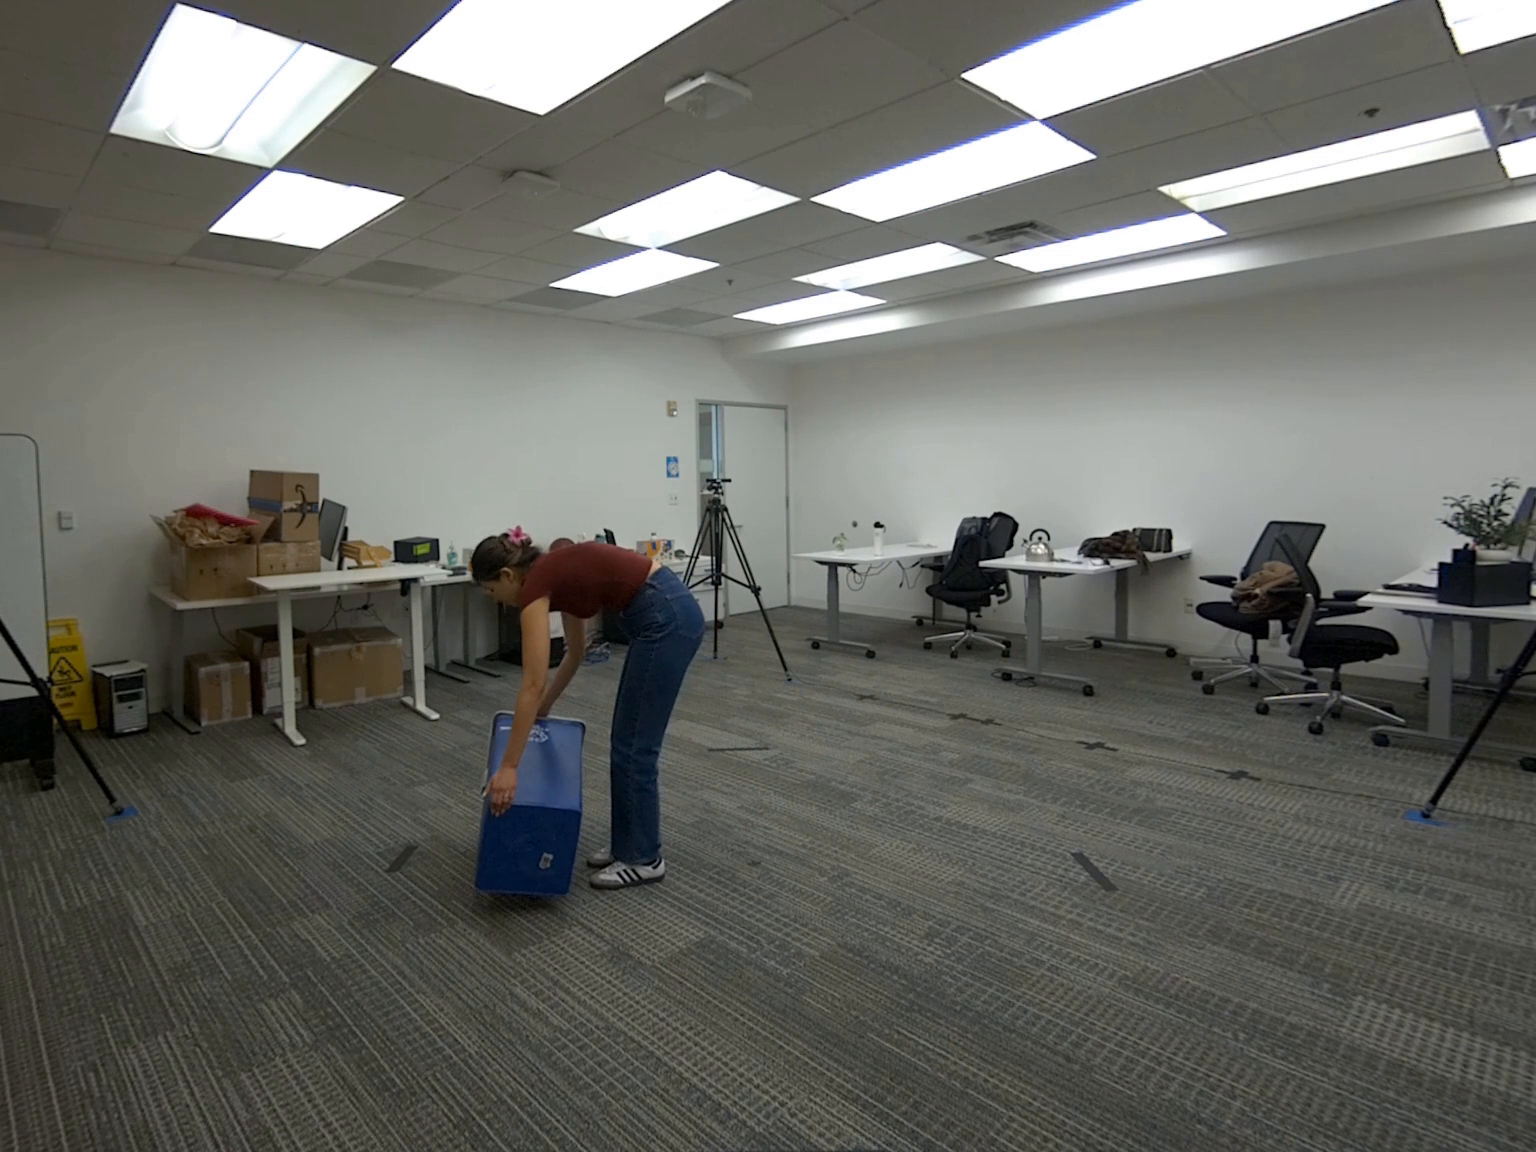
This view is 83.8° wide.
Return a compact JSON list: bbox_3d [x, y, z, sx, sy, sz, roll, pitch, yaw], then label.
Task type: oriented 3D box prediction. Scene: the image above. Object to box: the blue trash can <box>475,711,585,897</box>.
[{"bbox_3d":[-0.843,0.802,3.081,0.368,0.376,0.729,9,10,-15],"label":"blue trash can"}]
